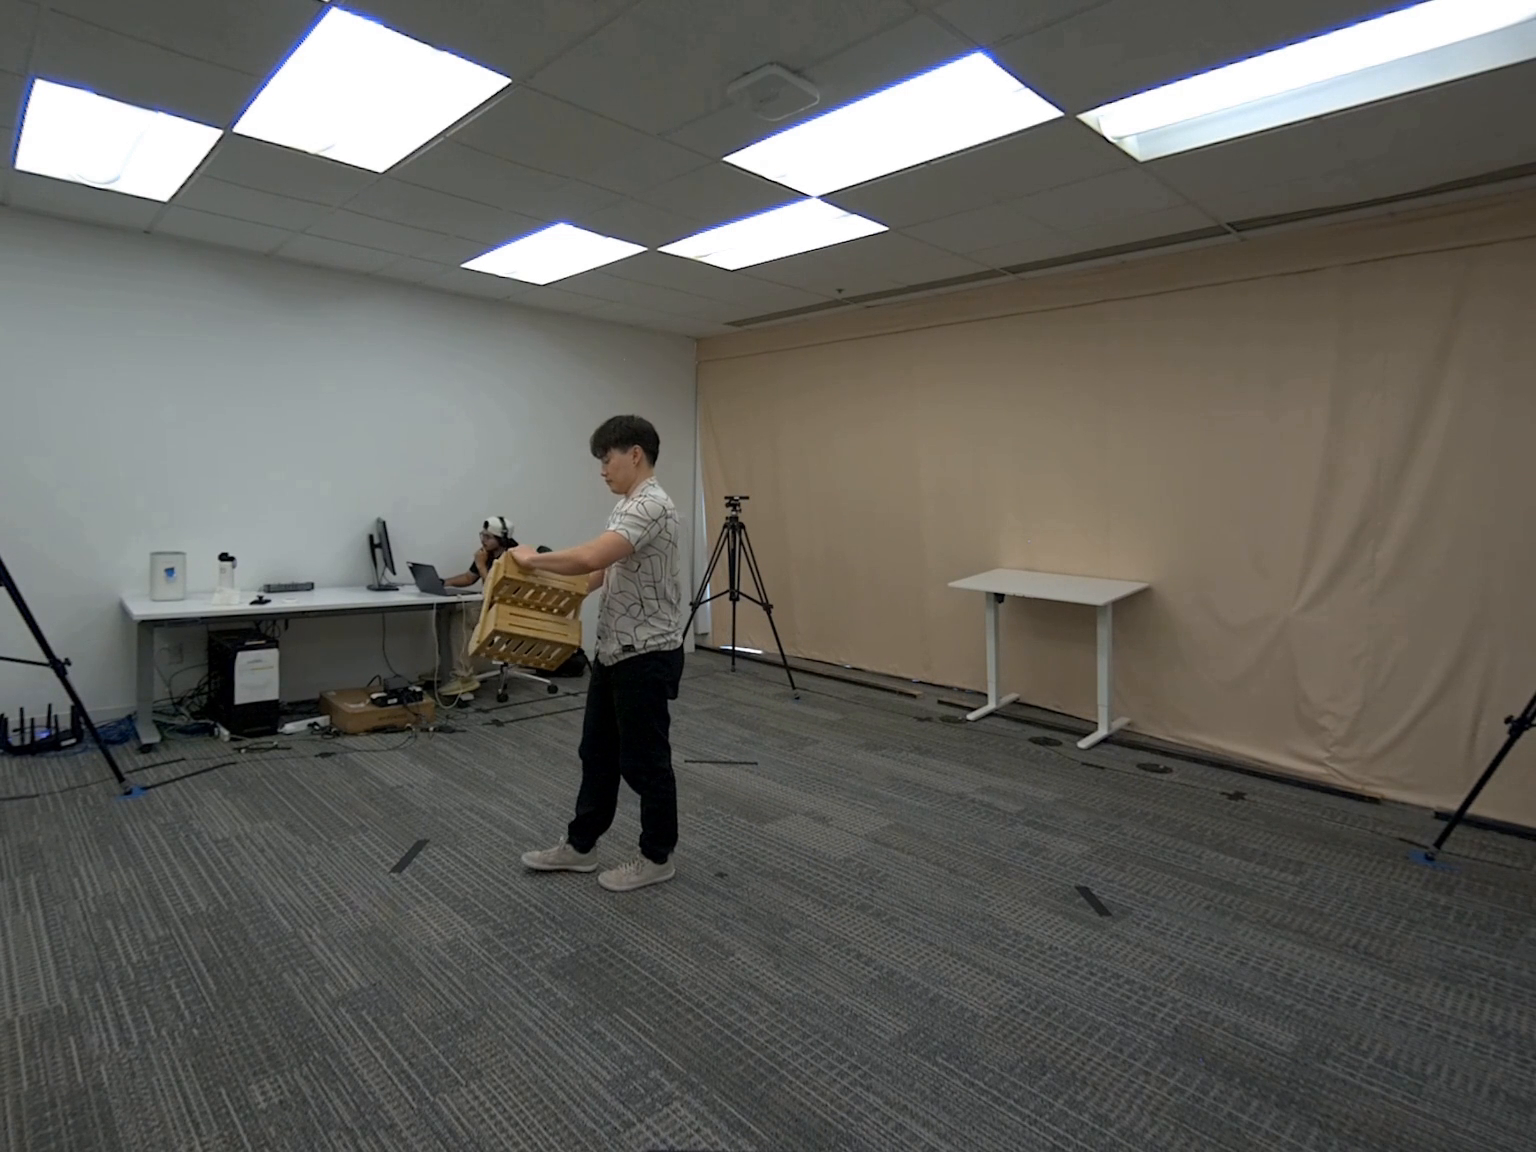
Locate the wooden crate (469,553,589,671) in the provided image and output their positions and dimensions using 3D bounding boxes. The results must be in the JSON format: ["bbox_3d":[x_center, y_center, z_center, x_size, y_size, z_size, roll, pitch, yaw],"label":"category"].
[{"bbox_3d":[-0.821,0.128,2.856,0.316,0.279,0.303,16,-36,-33],"label":"wooden crate"}]
